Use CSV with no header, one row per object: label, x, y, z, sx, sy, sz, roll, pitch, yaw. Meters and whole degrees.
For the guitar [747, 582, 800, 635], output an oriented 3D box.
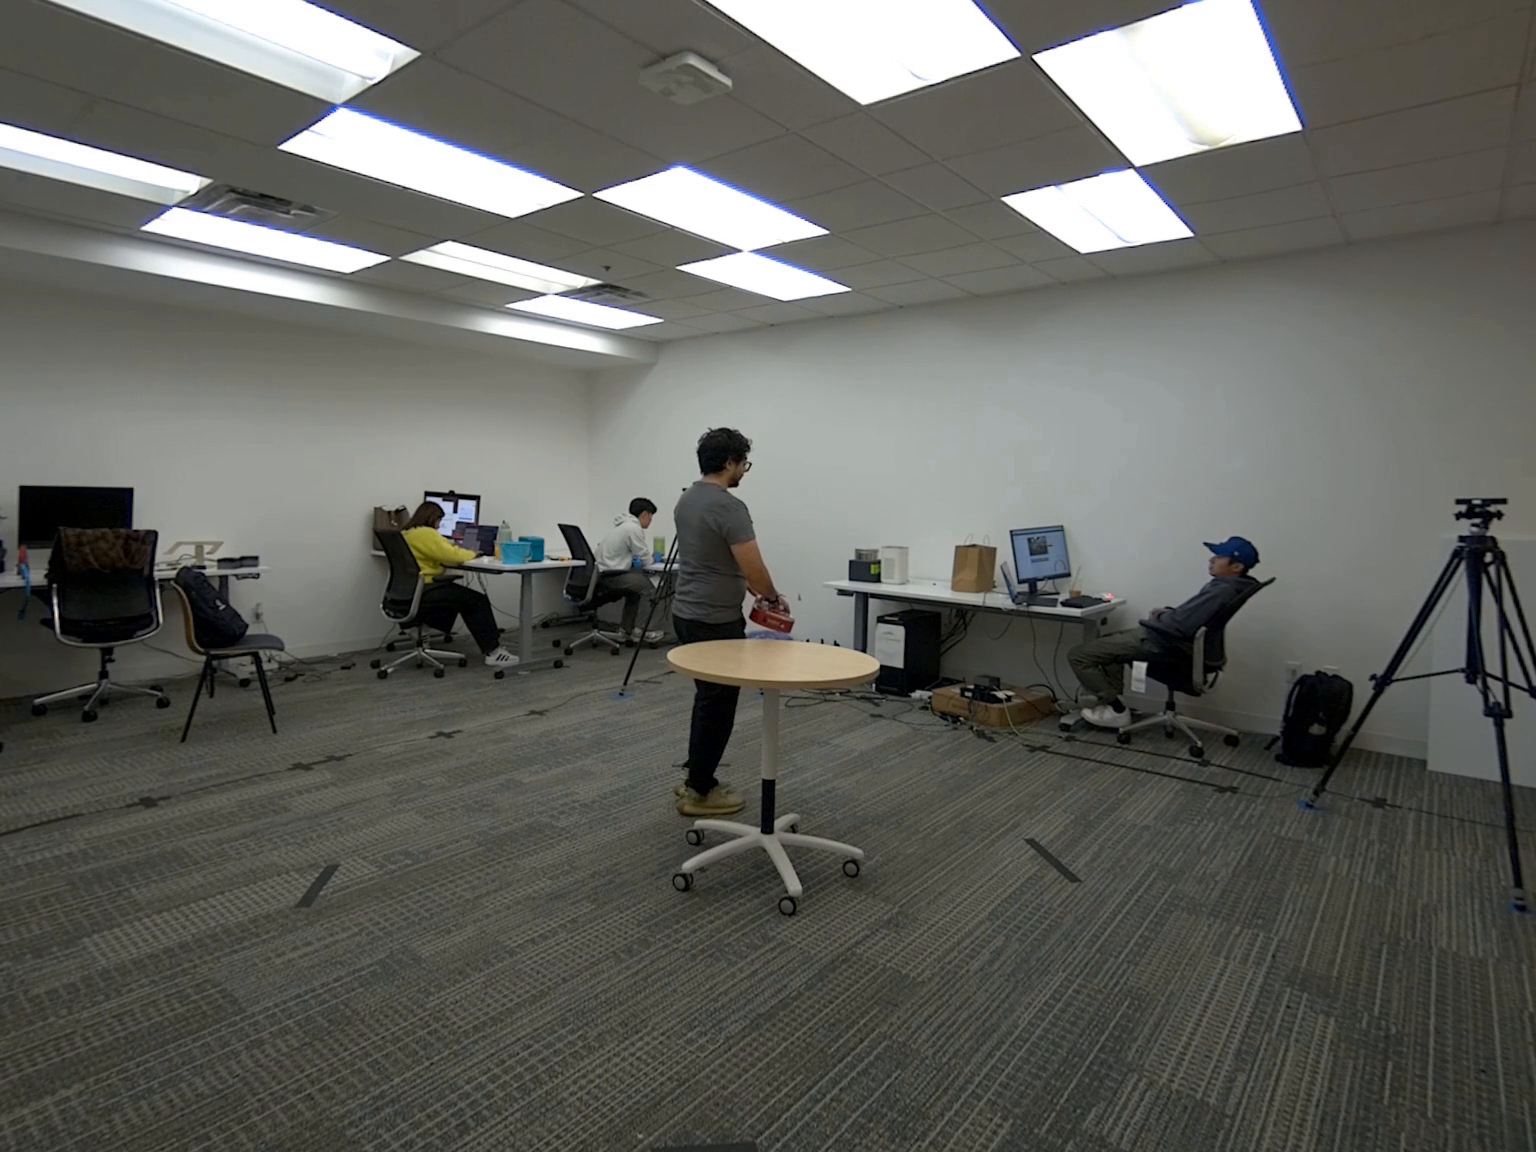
guitar,0.028,0.127,3.847,0.194,0.070,0.500,18,13,0
